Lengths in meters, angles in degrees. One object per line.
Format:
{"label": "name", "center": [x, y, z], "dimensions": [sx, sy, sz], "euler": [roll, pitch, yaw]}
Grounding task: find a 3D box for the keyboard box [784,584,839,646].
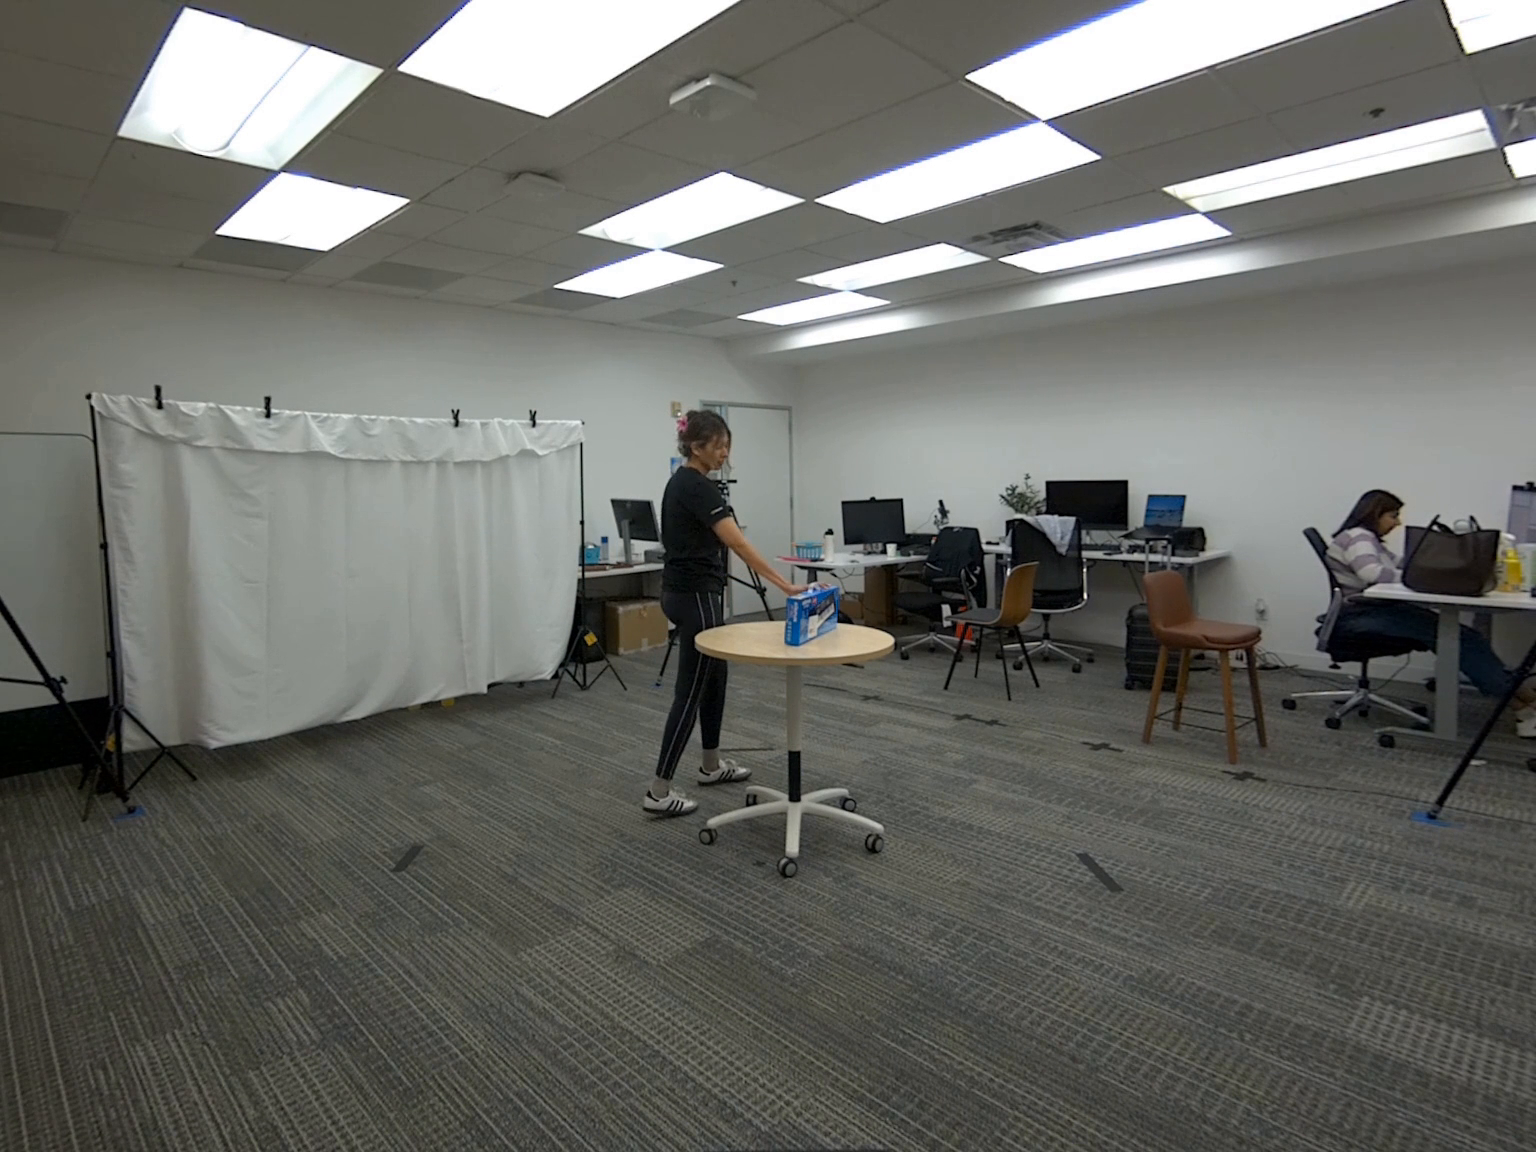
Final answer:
{"label": "keyboard box", "center": [0.179, 0.148, 3.326], "dimensions": [0.060, 0.175, 0.429], "euler": [5, 7, 23]}
